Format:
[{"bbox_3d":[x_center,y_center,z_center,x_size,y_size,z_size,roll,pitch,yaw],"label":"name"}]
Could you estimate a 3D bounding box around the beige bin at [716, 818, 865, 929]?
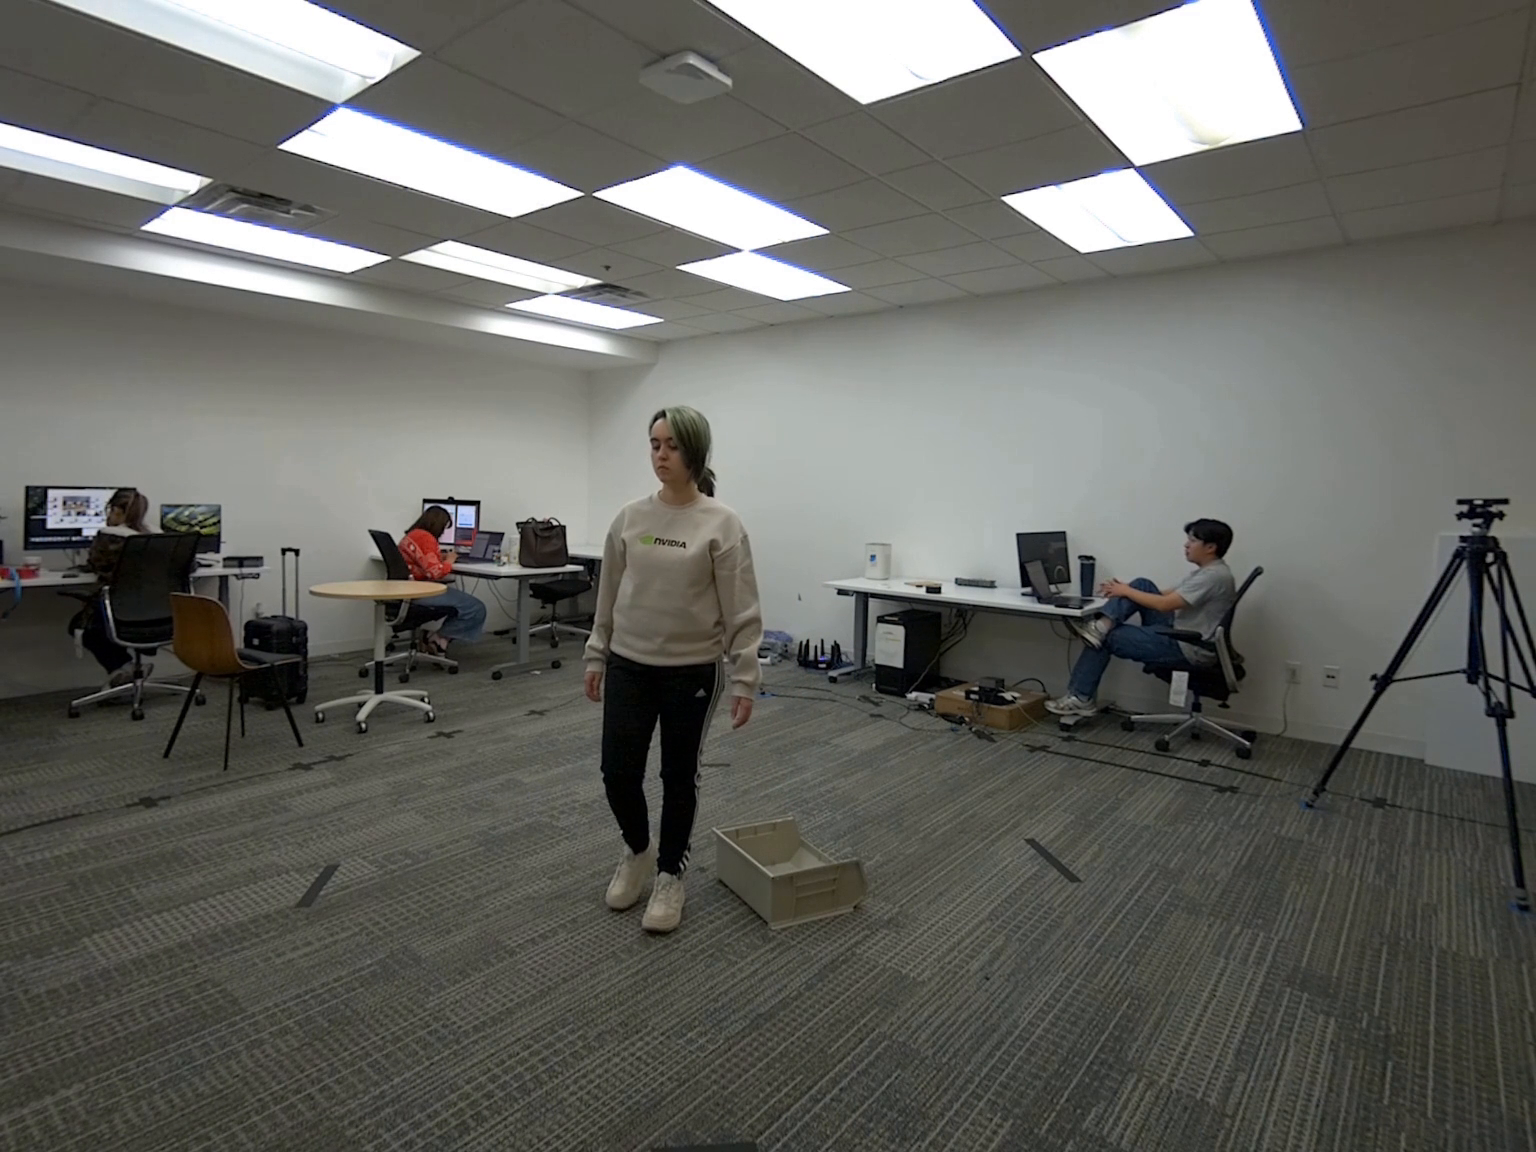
[{"bbox_3d":[0.060,1.004,2.937,0.368,0.188,0.435,-2,6,-28],"label":"beige bin"}]
